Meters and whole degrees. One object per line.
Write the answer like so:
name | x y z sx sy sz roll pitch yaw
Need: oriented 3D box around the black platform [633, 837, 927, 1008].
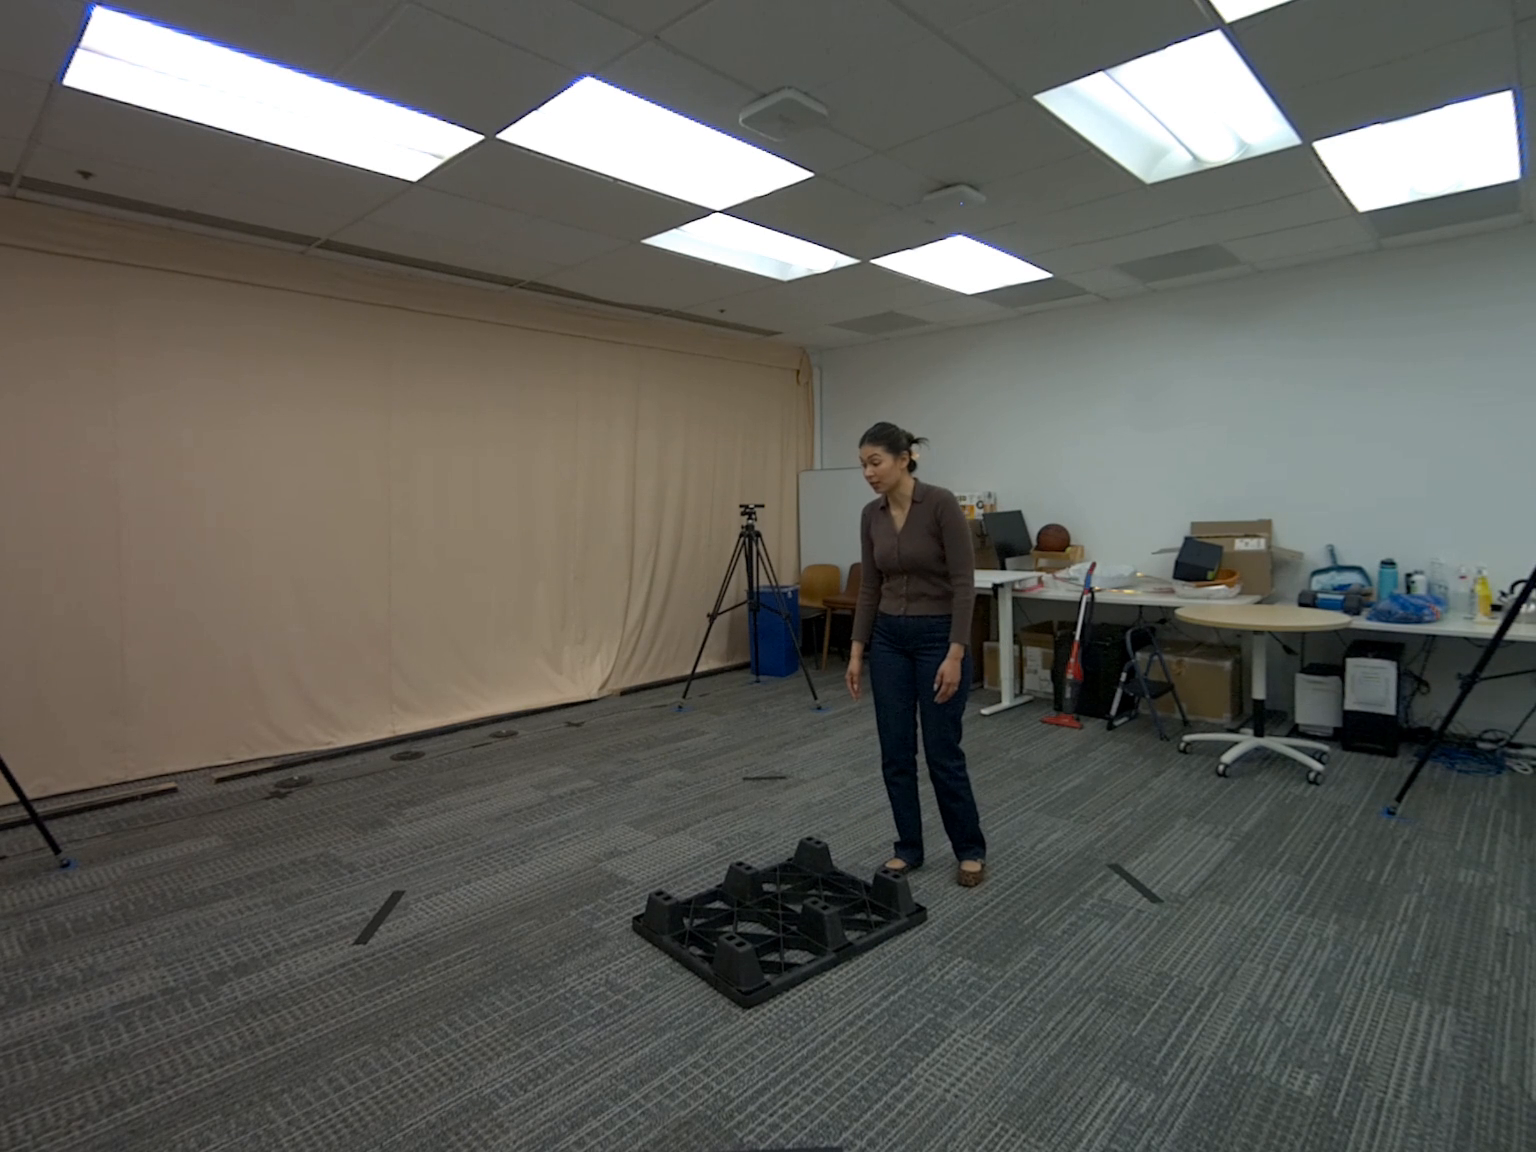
black platform | 0.043 1.087 2.792 0.781 0.143 0.625 -5 7 -40
